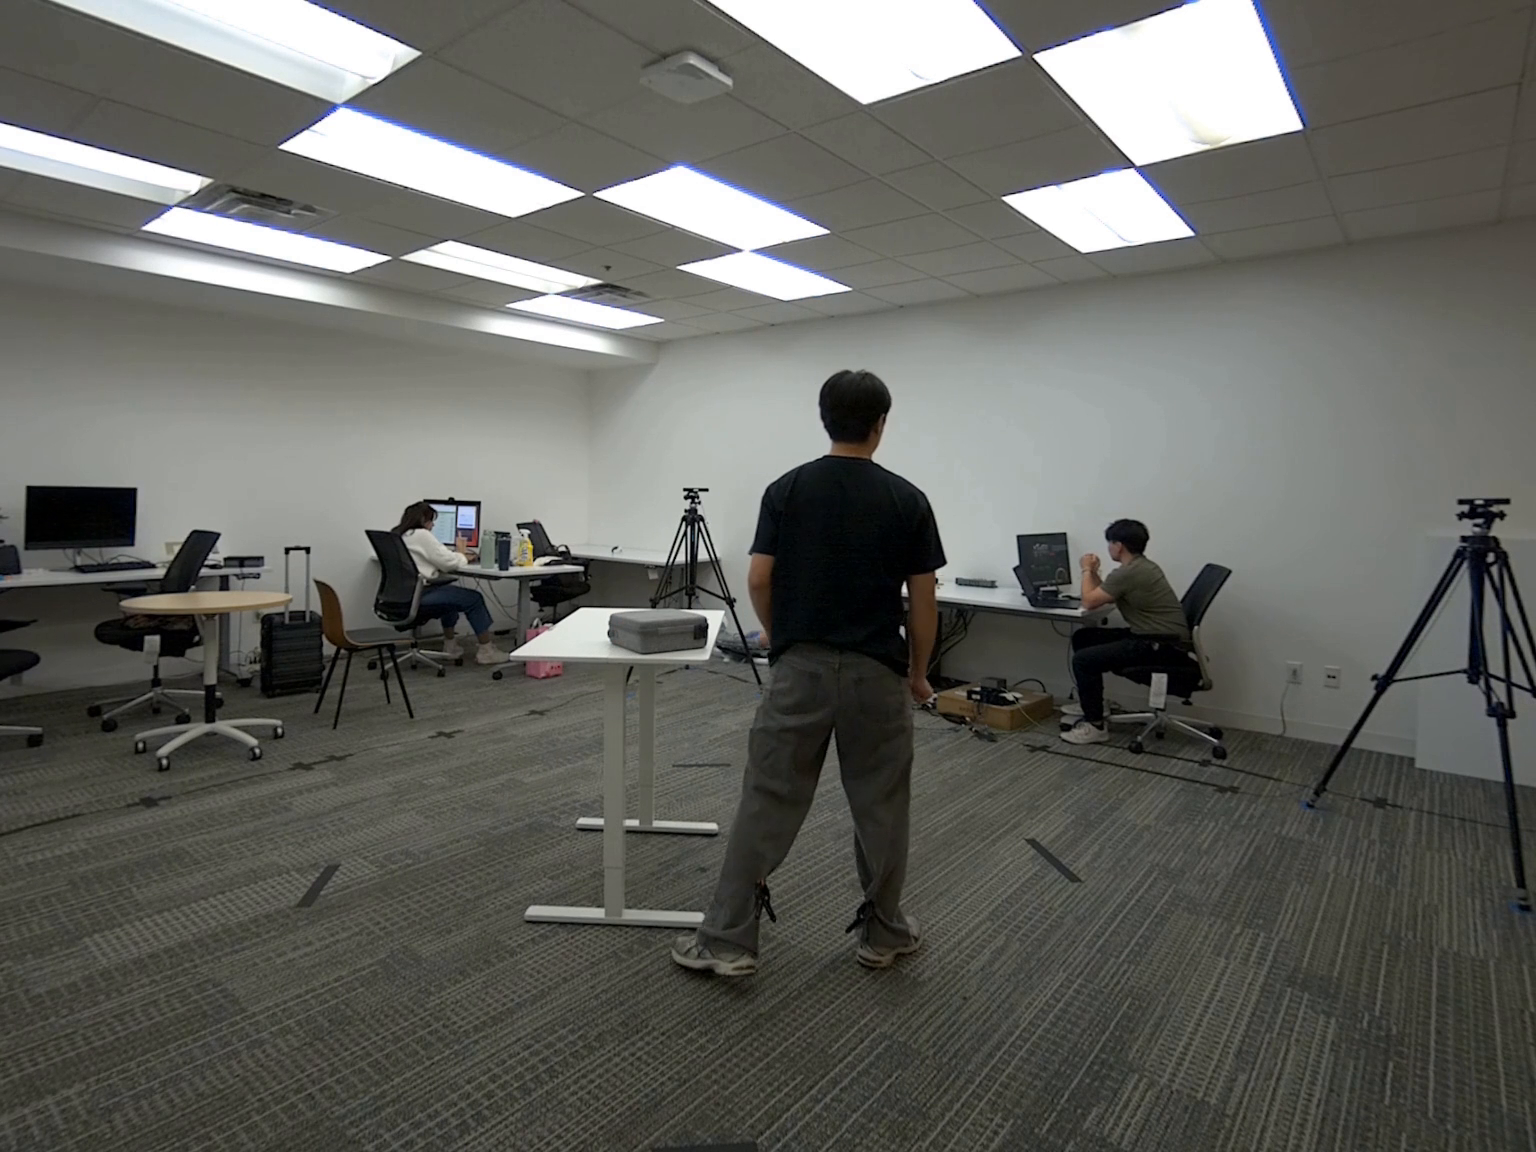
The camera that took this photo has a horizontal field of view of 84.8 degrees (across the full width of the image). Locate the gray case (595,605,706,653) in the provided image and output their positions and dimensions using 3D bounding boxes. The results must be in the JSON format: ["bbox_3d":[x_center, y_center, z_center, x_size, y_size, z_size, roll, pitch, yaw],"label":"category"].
[{"bbox_3d":[-0.389,0.166,2.737,0.280,0.102,0.270,0,6,-24],"label":"gray case"}]
